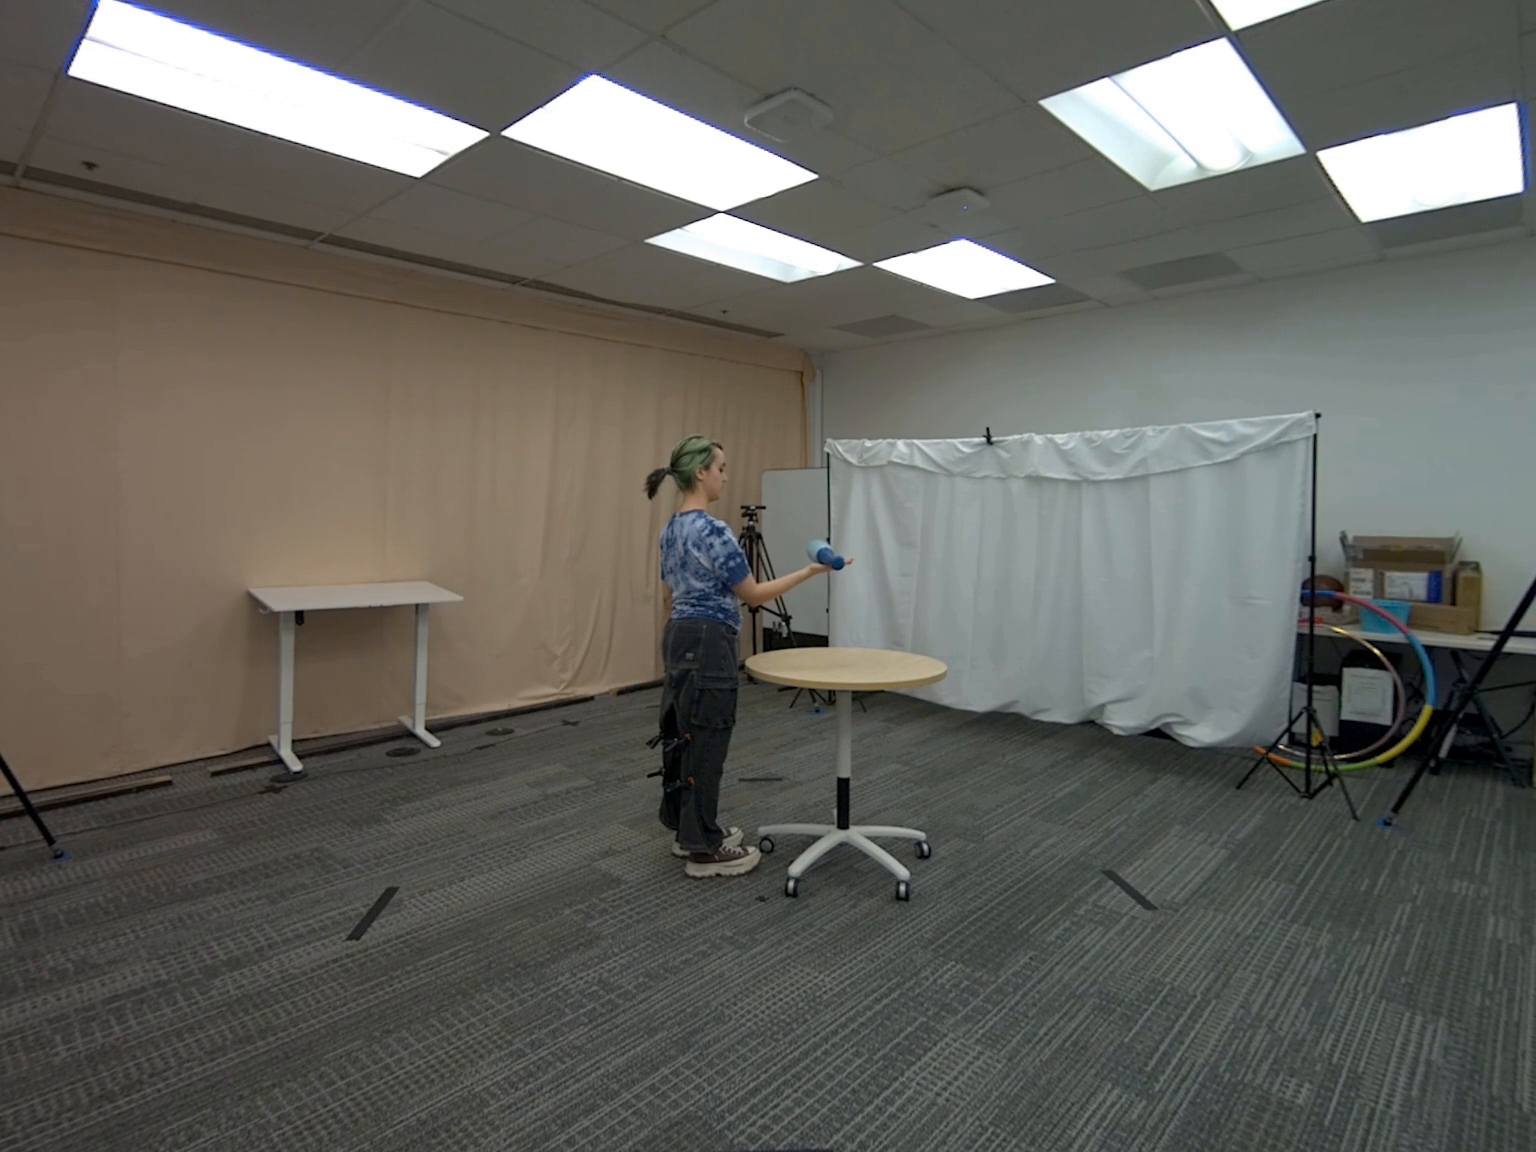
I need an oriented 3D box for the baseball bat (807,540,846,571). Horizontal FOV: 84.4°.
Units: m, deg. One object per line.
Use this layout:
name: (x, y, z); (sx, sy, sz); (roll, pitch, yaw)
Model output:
baseball bat: (0.237, -0.069, 3.124); (0.088, 0.089, 0.550); (-1, 6, -10)
